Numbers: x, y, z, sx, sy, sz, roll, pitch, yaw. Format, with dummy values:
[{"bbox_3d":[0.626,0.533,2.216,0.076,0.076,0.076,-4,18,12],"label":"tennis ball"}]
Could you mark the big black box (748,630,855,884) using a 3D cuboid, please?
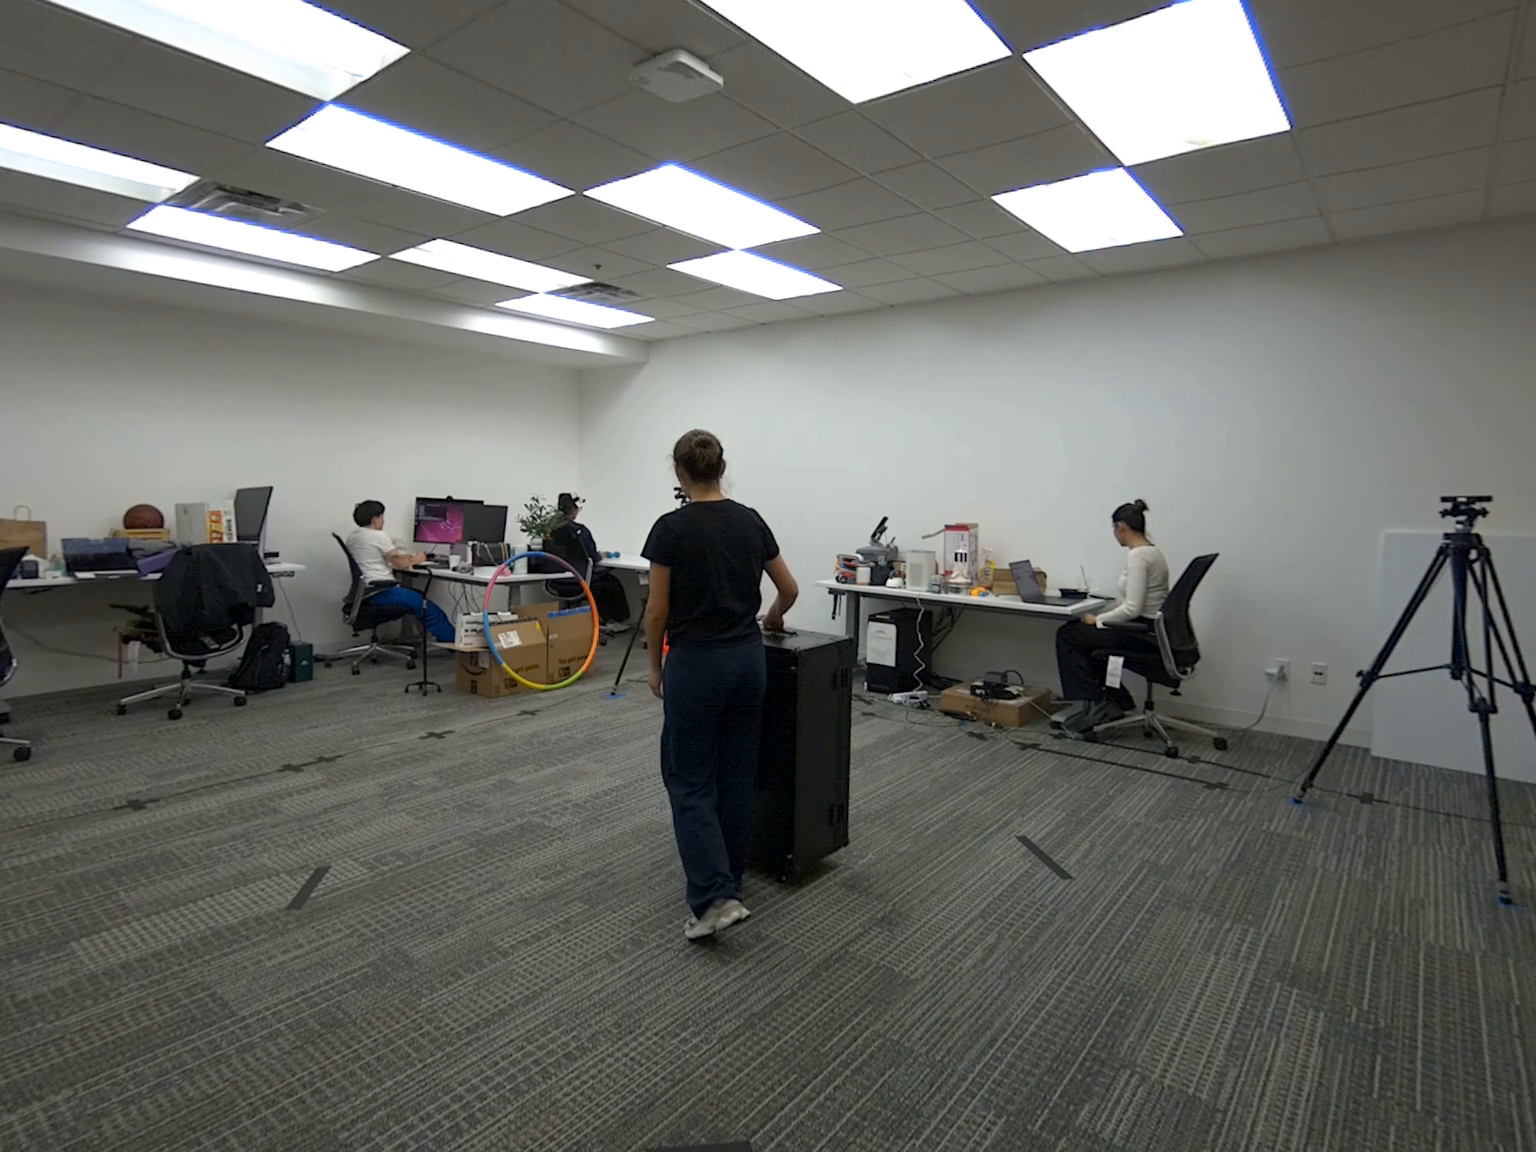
[{"bbox_3d":[0.025,0.641,3.174,0.539,0.858,0.385,4,5,39],"label":"big black box"}]
